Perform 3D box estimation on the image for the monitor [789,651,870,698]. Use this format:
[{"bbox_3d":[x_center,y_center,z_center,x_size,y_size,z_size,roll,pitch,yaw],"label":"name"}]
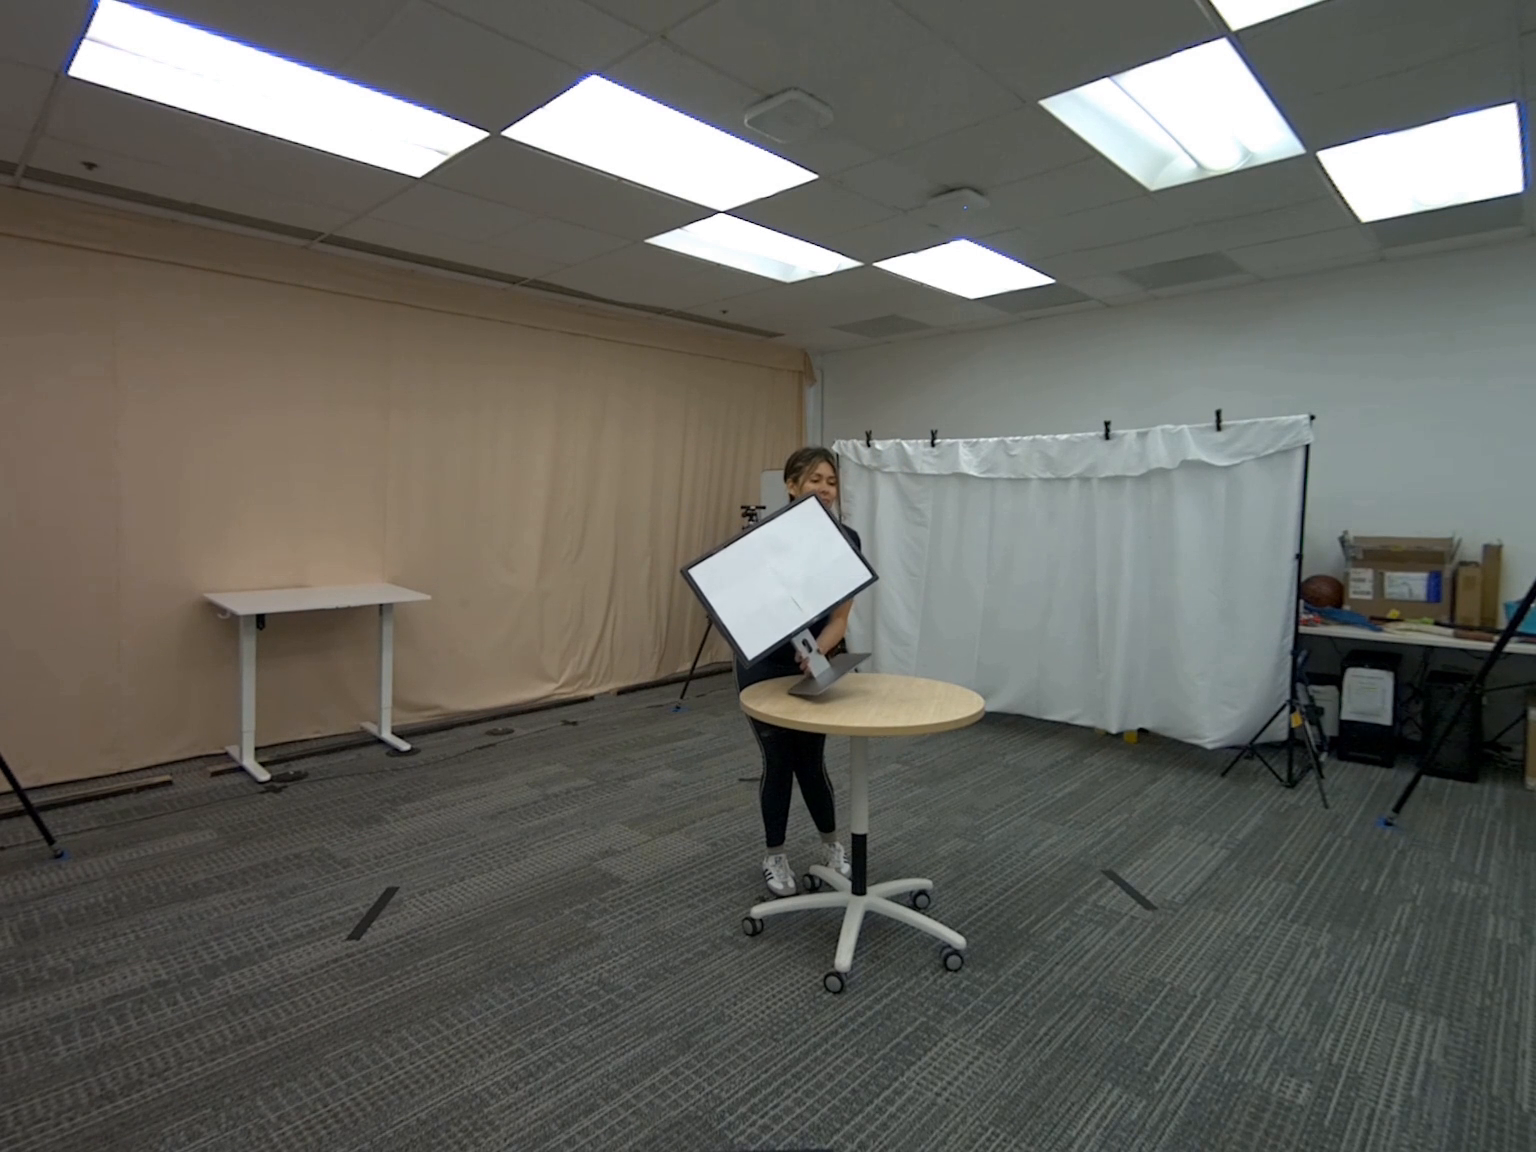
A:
[{"bbox_3d":[0.081,0.084,2.669,0.531,0.521,0.190,-32,4,-29],"label":"monitor"}]
